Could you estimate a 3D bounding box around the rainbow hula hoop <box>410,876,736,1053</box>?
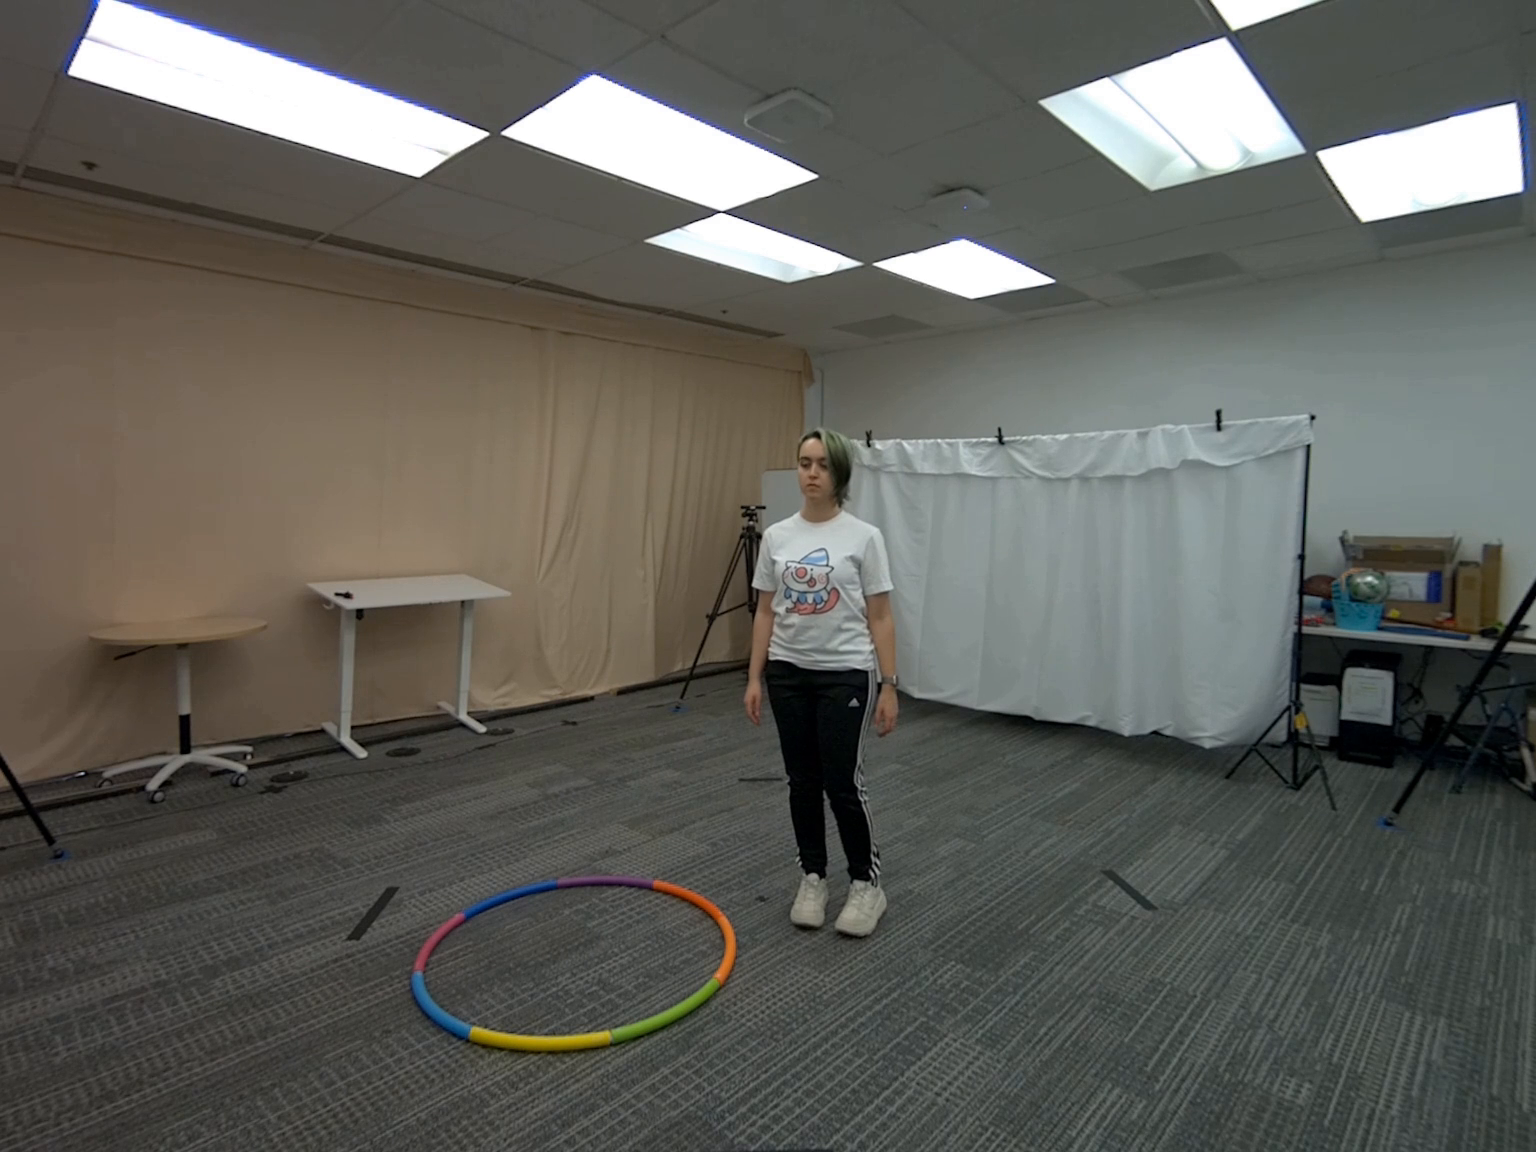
[{"bbox_3d":[-0.590,1.154,2.628,0.984,0.051,0.989,0,4,-2],"label":"rainbow hula hoop"}]
